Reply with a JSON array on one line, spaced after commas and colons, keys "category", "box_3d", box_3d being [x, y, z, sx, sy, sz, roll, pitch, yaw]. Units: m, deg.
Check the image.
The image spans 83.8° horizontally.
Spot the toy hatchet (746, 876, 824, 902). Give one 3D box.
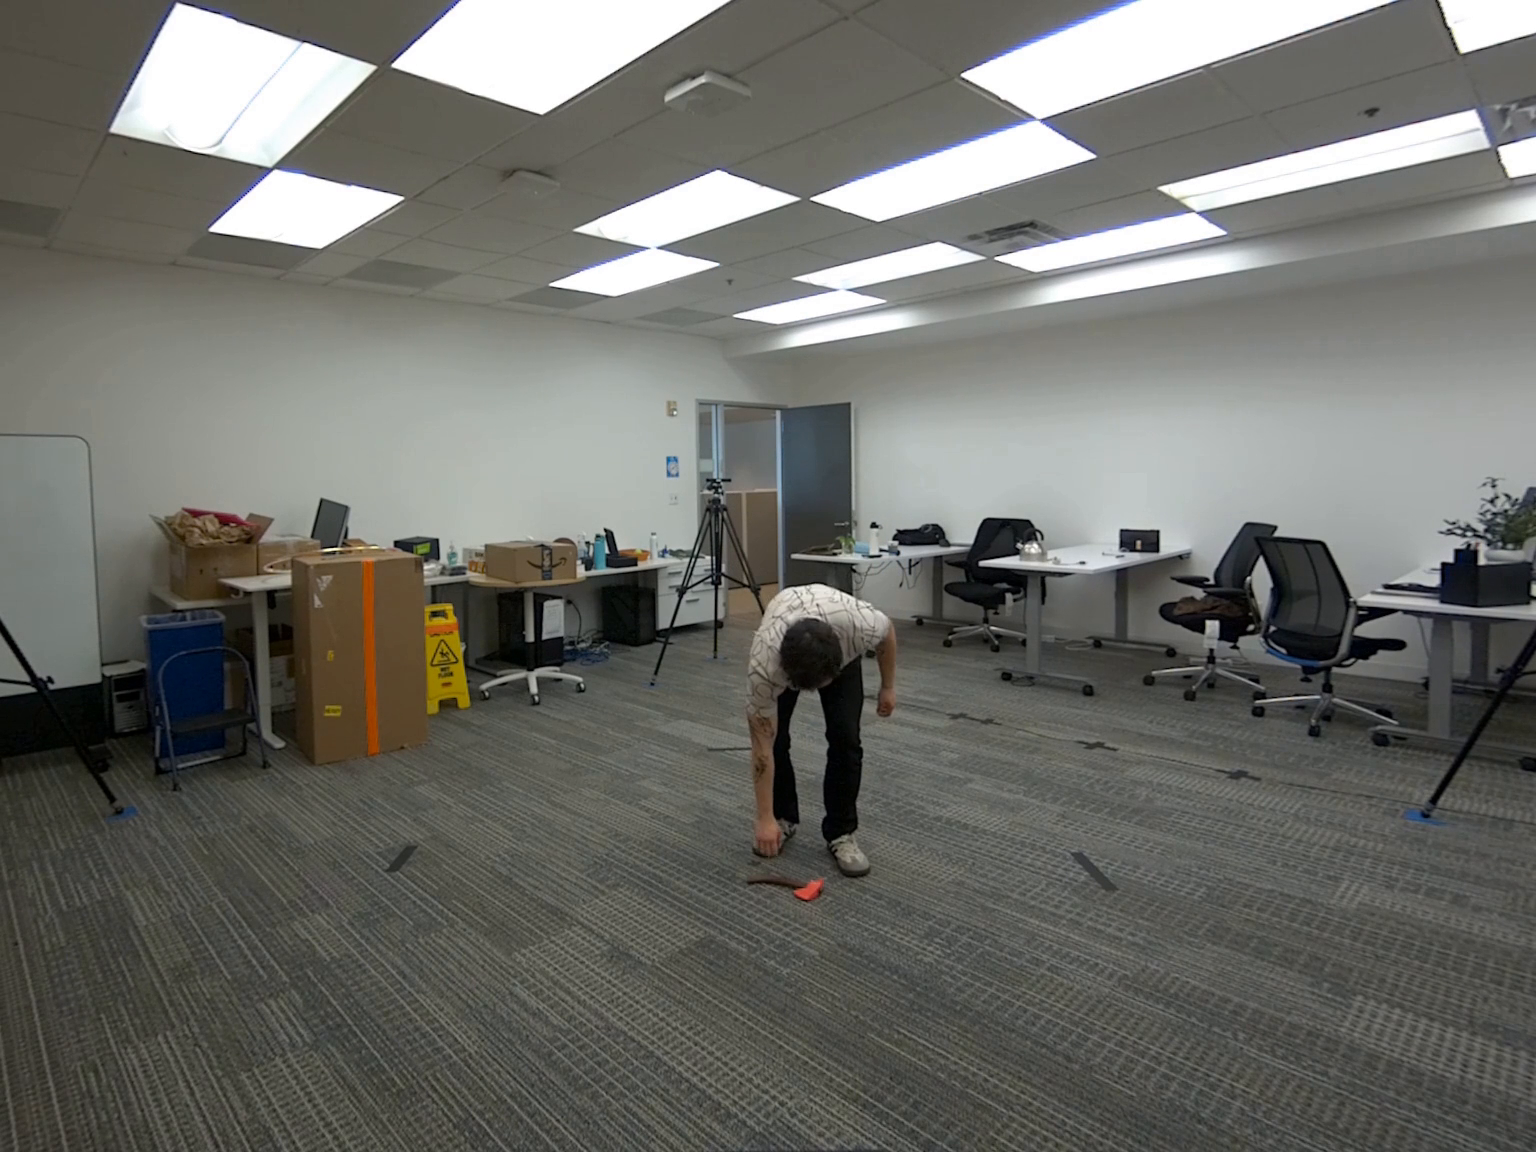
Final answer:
[{"category": "toy hatchet", "box_3d": [0.055, 1.058, 2.888, 0.273, 0.029, 0.131, -3, 12, 11]}]
